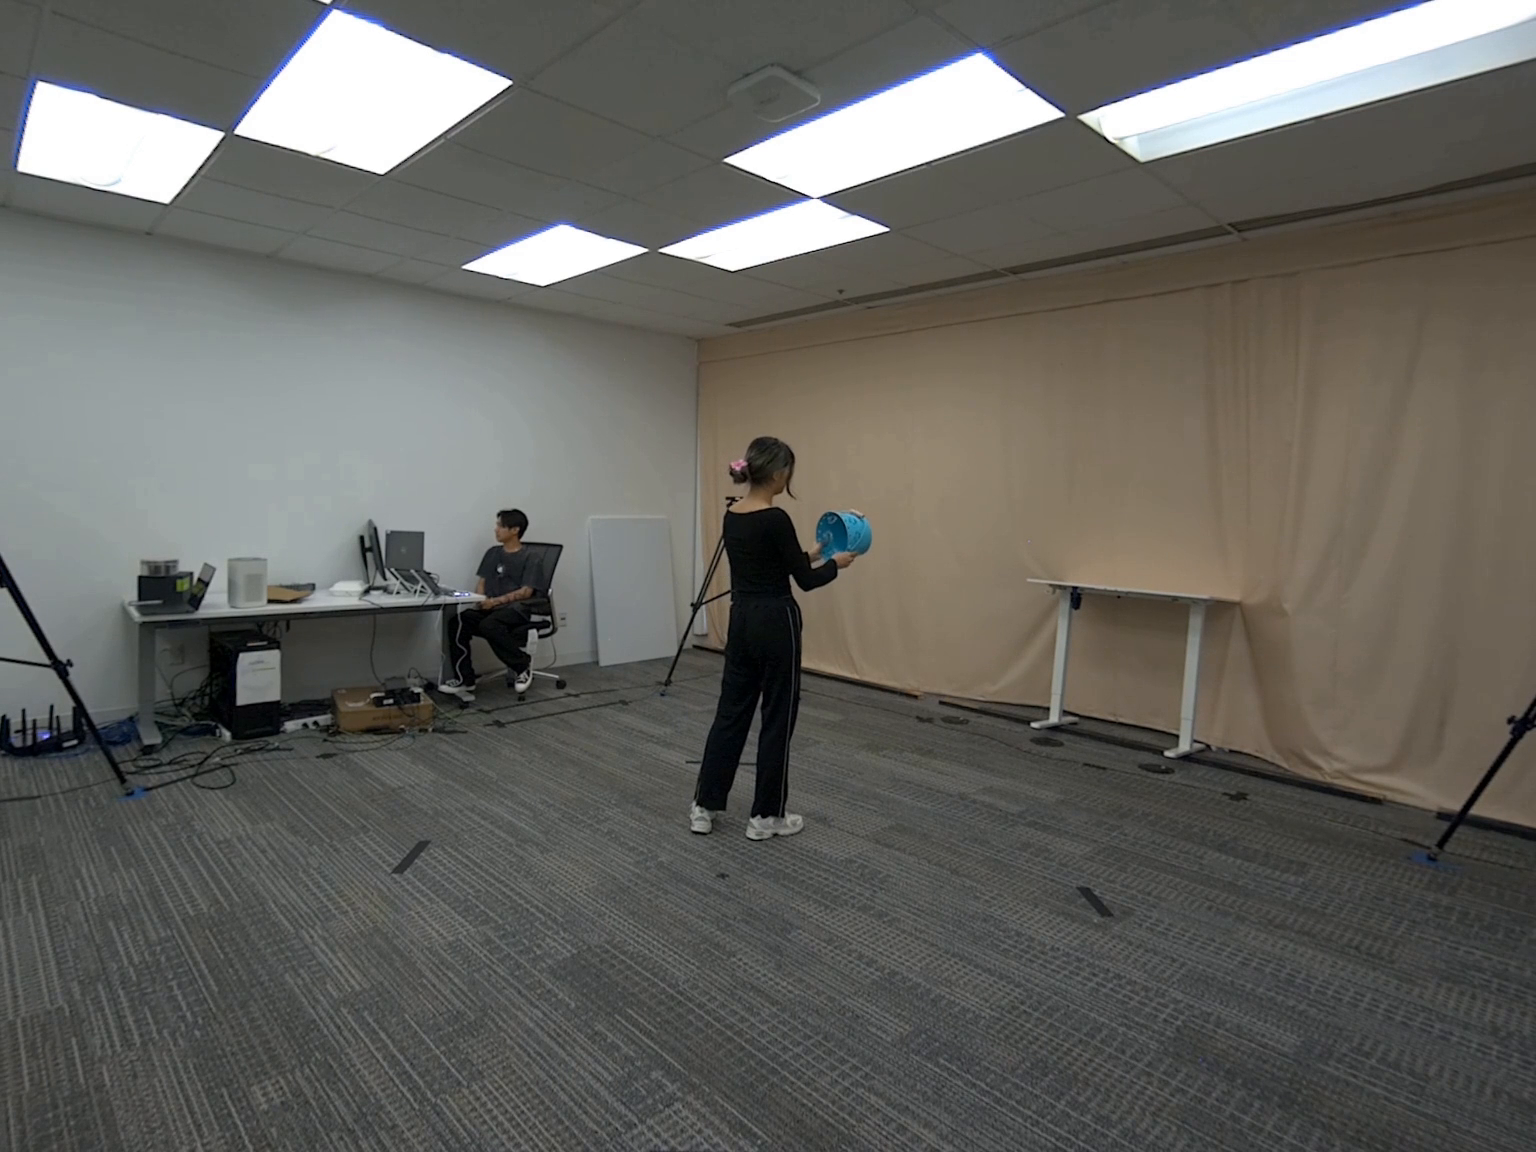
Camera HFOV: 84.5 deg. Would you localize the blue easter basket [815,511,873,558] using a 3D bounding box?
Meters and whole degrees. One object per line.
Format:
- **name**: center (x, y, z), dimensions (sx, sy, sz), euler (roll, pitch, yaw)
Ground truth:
- **blue easter basket**: center (0.328, -0.175, 3.721), dimensions (0.153, 0.242, 0.249), euler (-6, 8, -32)
